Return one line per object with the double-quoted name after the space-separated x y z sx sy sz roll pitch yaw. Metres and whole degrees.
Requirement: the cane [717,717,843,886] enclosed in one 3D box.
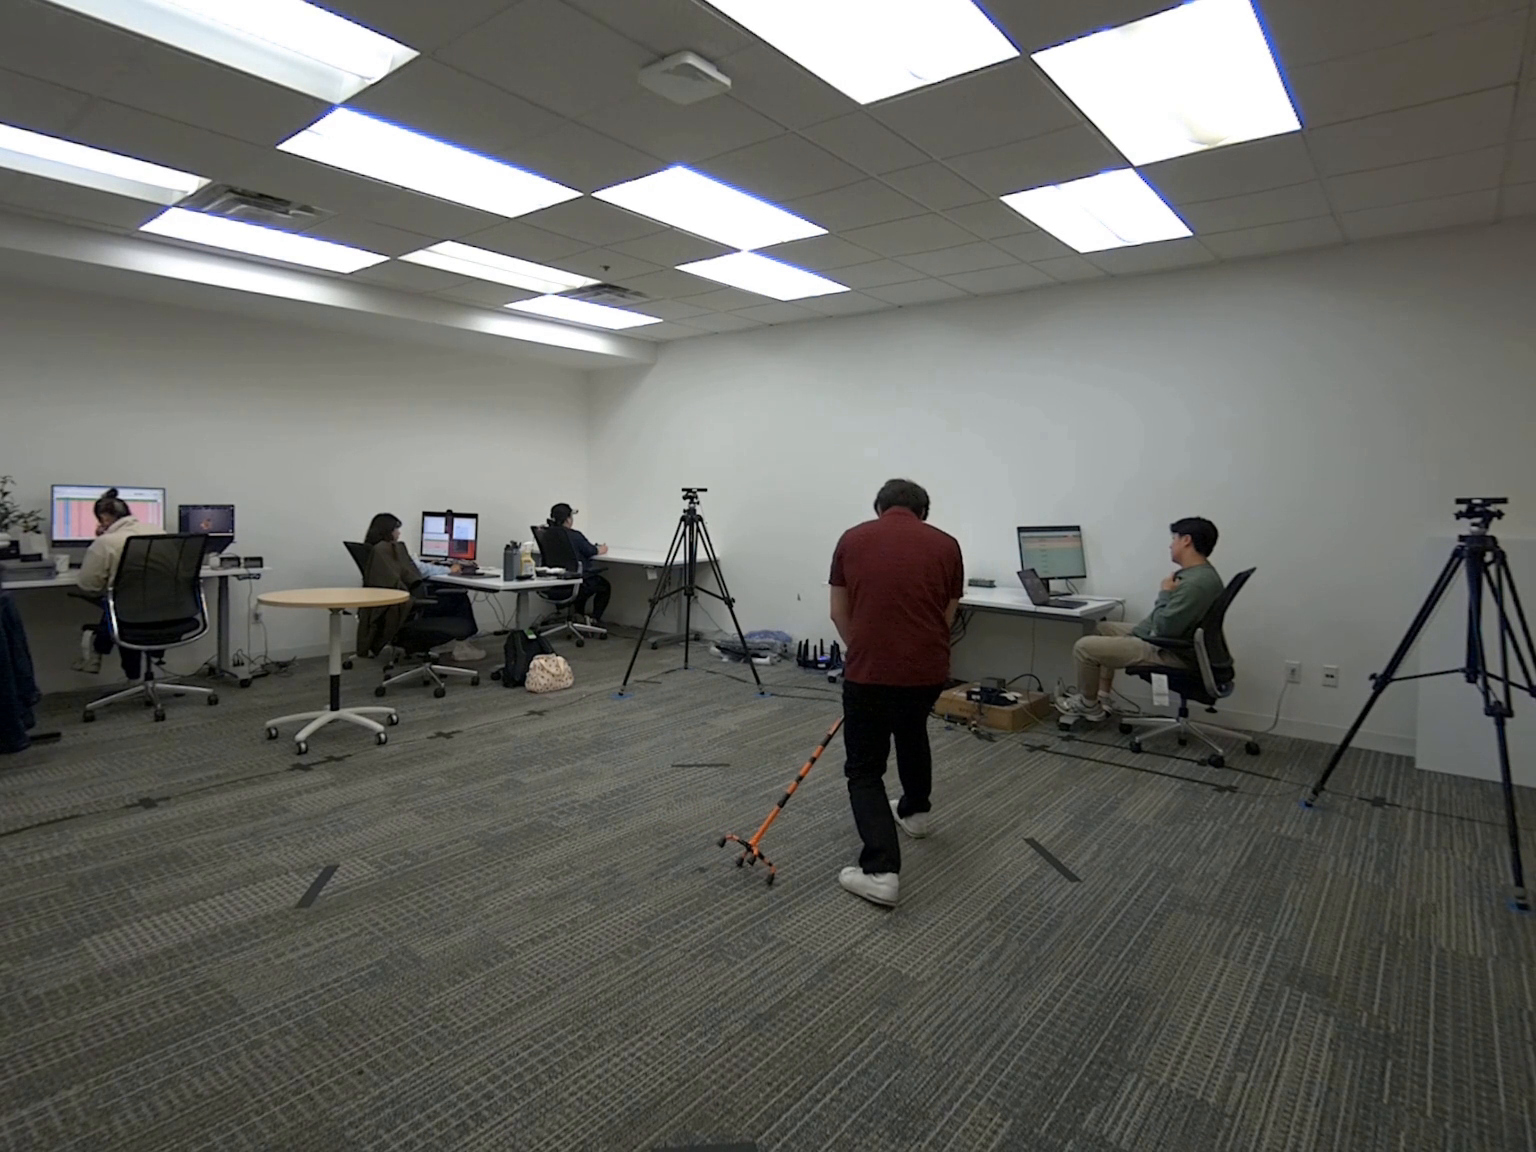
0.158 0.707 3.218 0.213 0.146 0.908 6 48 51 "cane"
